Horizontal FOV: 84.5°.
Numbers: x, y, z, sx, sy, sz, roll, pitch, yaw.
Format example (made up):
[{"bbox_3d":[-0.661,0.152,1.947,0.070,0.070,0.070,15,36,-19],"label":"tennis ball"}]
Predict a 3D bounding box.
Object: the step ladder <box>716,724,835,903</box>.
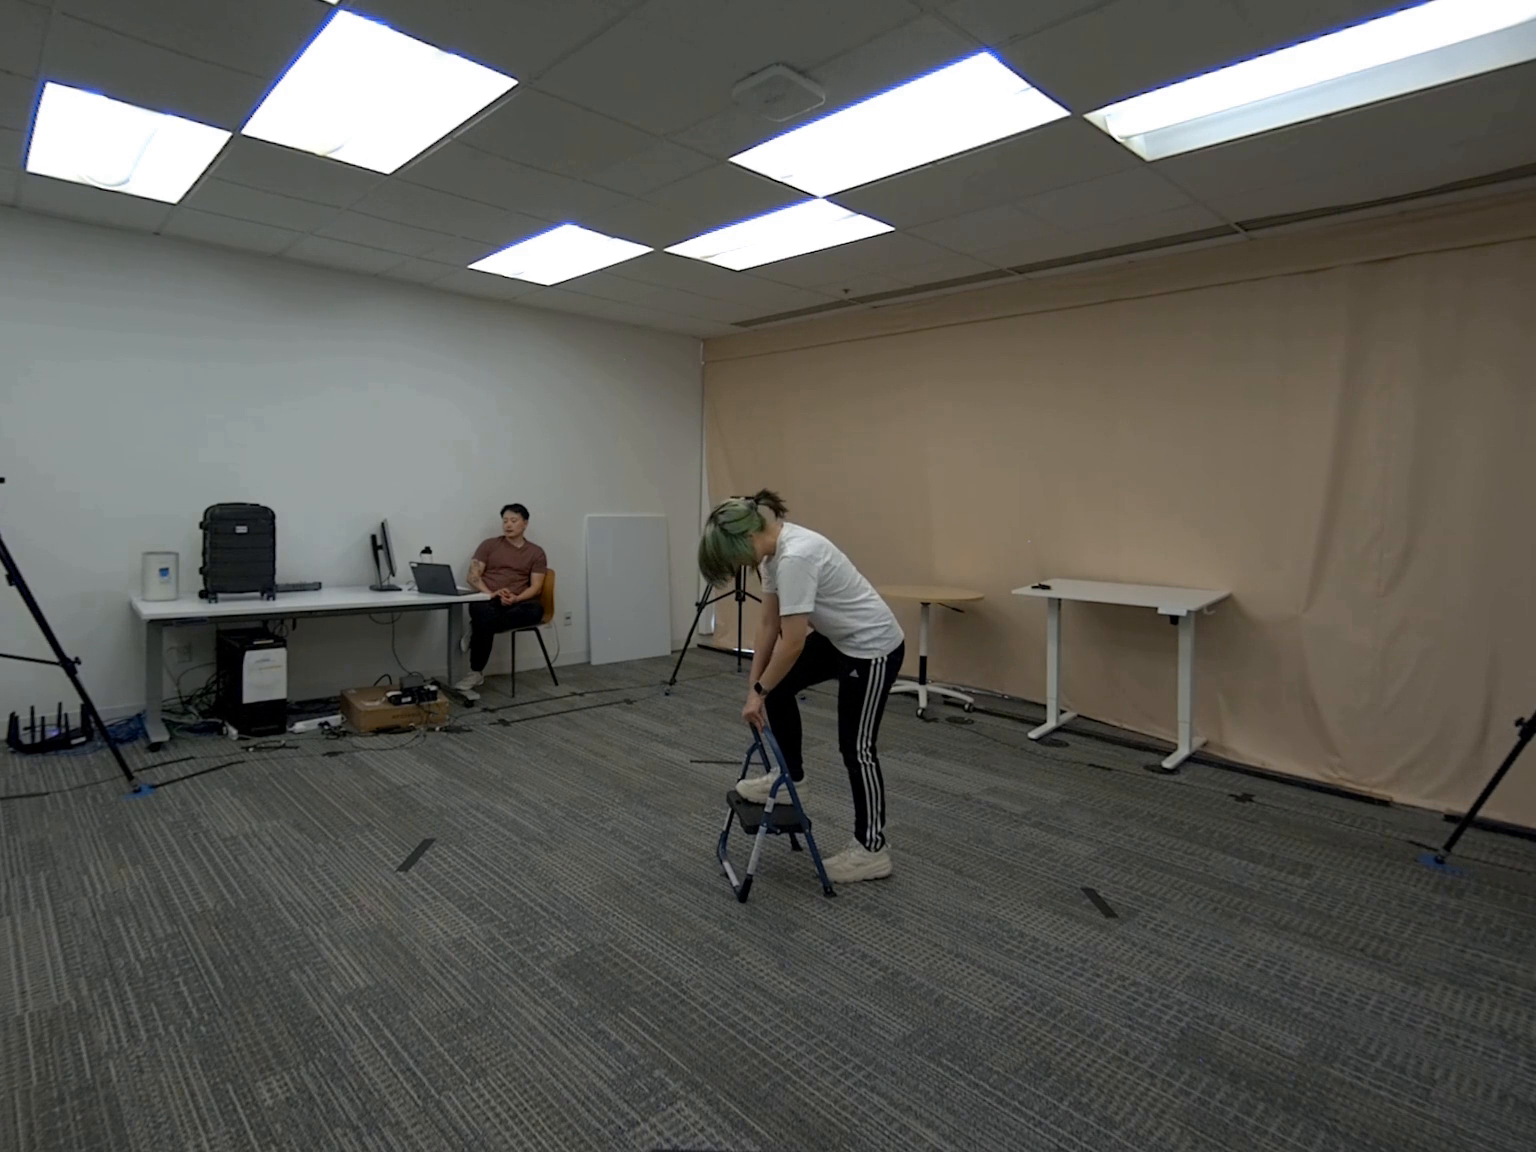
[{"bbox_3d":[0.017,0.809,3.104,0.345,0.604,0.436,1,4,-15],"label":"step ladder"}]
